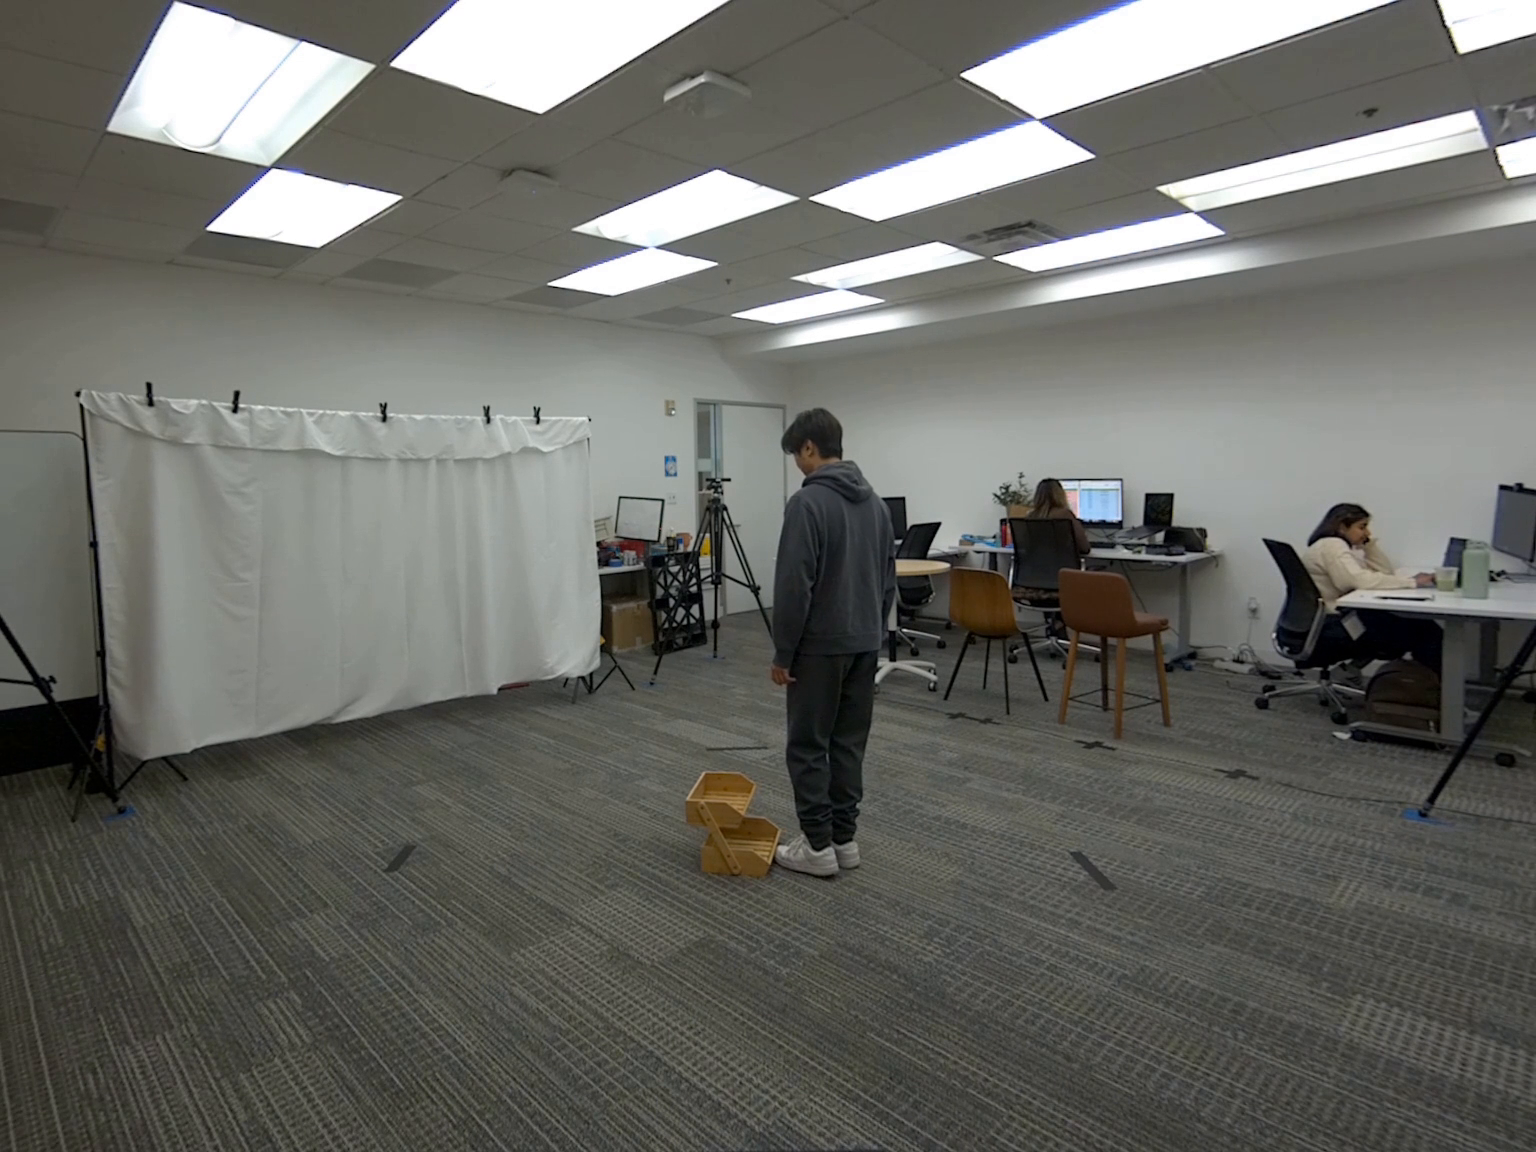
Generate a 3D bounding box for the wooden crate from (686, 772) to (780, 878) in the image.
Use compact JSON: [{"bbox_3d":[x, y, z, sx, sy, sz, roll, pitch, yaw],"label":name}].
[{"bbox_3d":[-0.112,0.906,3.165,0.305,0.272,0.323,0,5,9],"label":"wooden crate"}]
